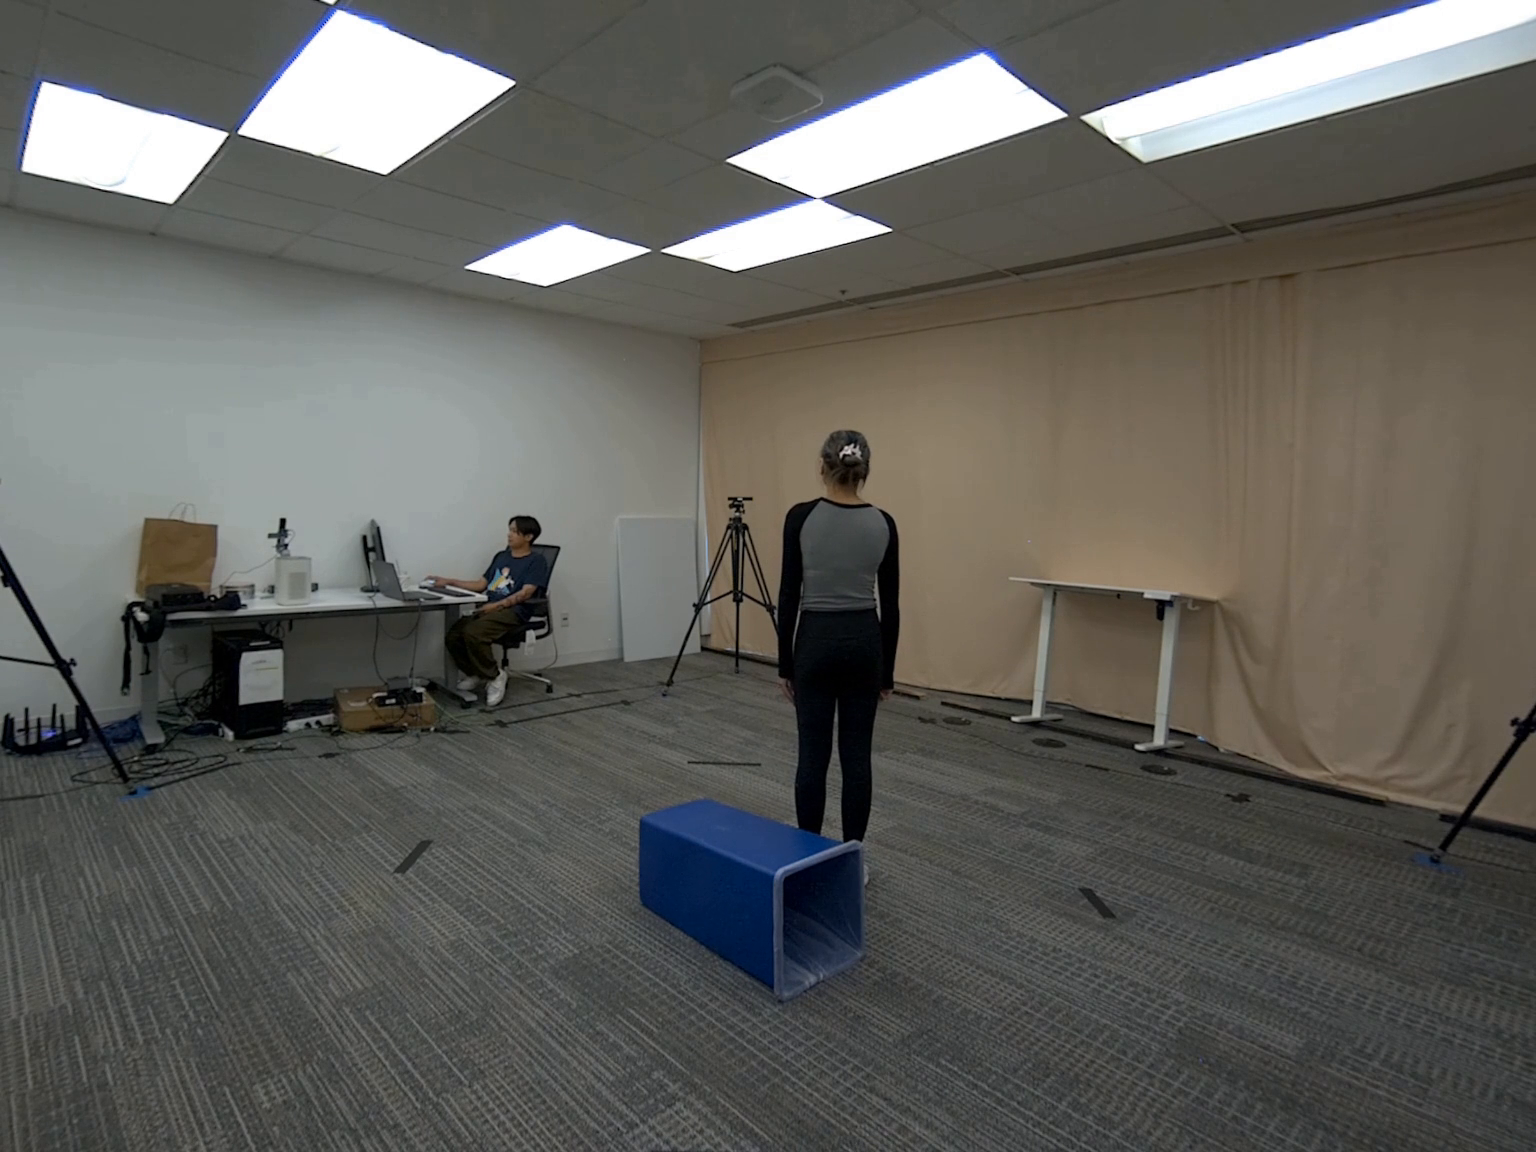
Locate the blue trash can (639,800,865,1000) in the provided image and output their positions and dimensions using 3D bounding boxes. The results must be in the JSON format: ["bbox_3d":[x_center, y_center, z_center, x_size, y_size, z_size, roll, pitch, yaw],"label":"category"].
[{"bbox_3d":[-0.096,0.973,2.695,0.369,0.373,0.731,-3,5,-43],"label":"blue trash can"}]
